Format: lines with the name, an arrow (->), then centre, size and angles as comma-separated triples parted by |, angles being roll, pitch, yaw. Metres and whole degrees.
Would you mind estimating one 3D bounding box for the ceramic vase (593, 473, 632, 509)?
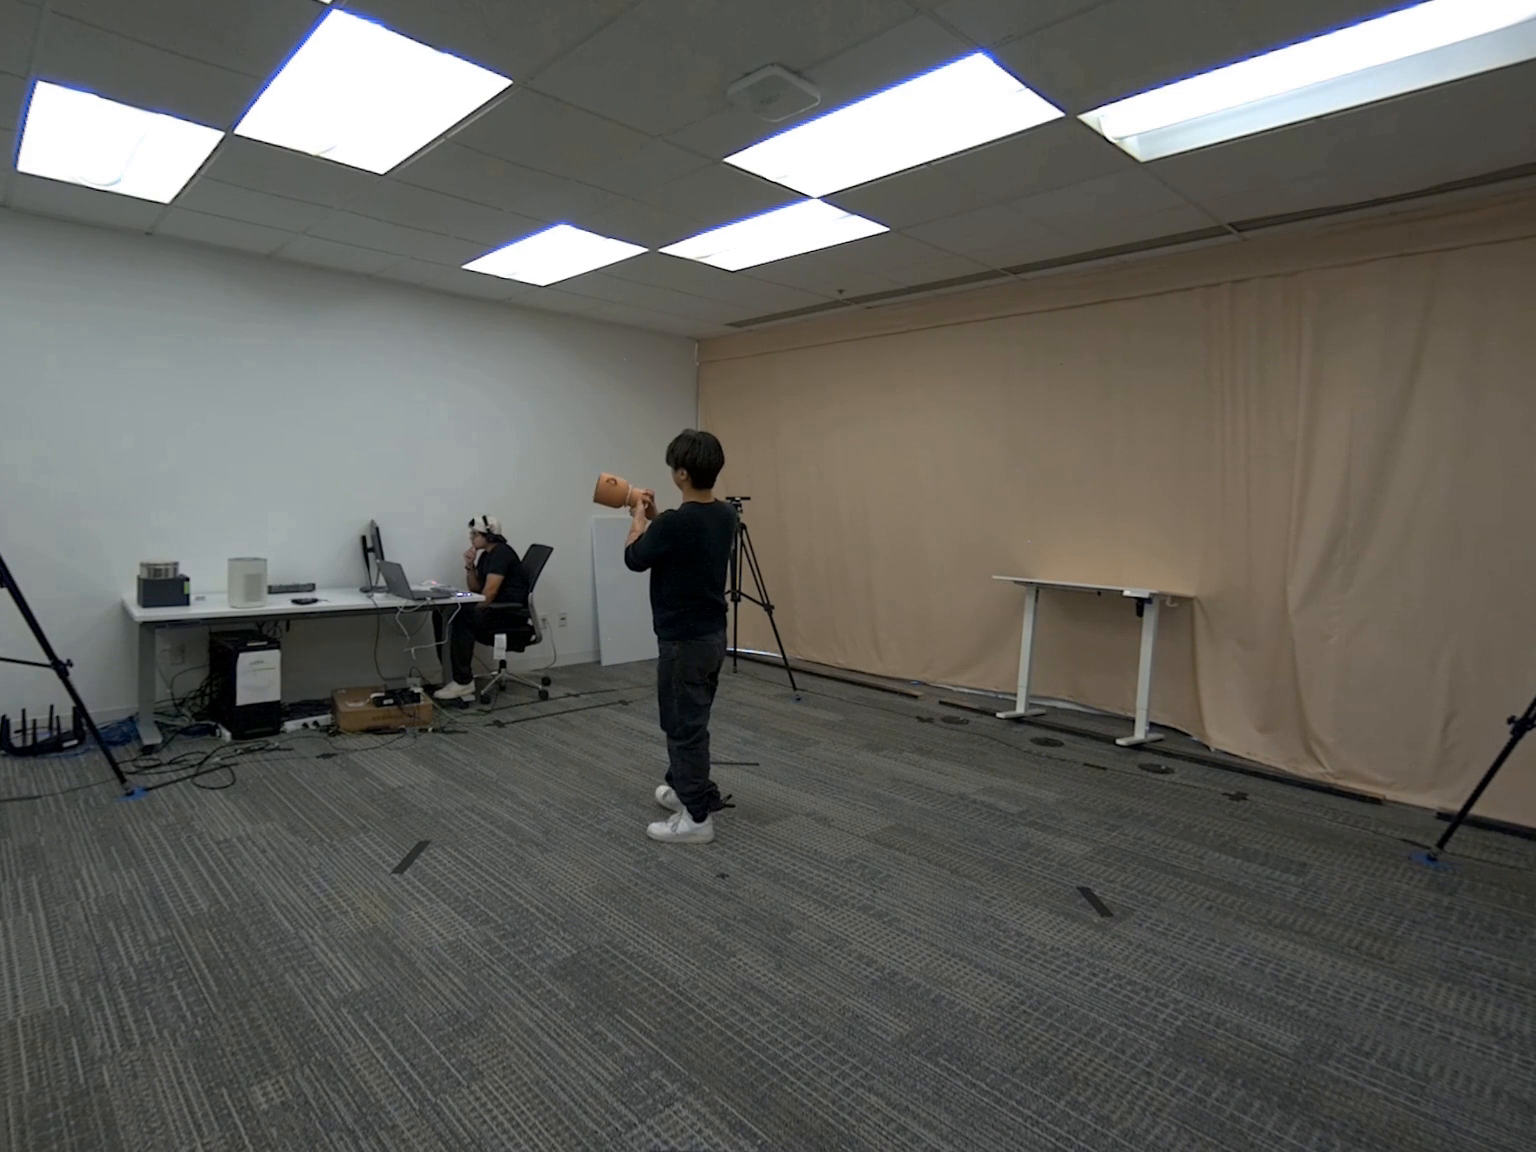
ceramic vase -> -0.636, -0.353, 3.629 | 0.217, 0.134, 0.161 | 16, 9, -12
